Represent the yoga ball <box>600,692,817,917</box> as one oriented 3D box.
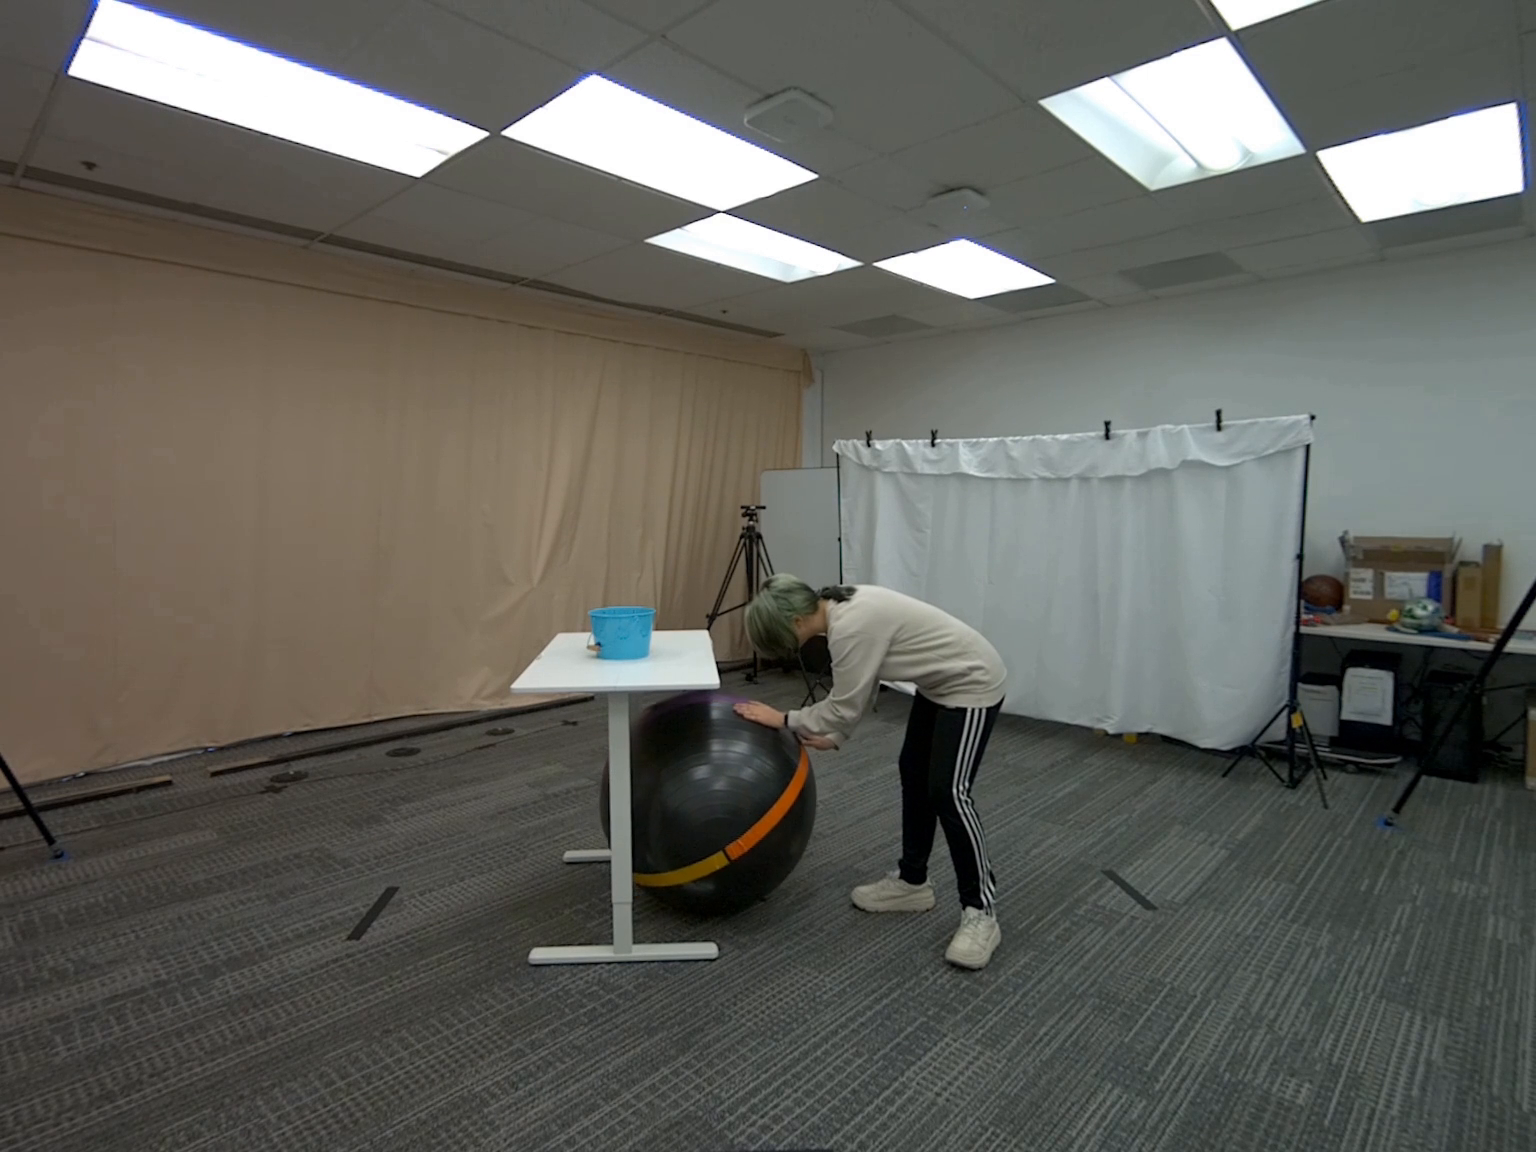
[{"bbox_3d":[-0.206,0.778,2.961,0.757,0.756,0.760,0,4,-2],"label":"yoga ball"}]
